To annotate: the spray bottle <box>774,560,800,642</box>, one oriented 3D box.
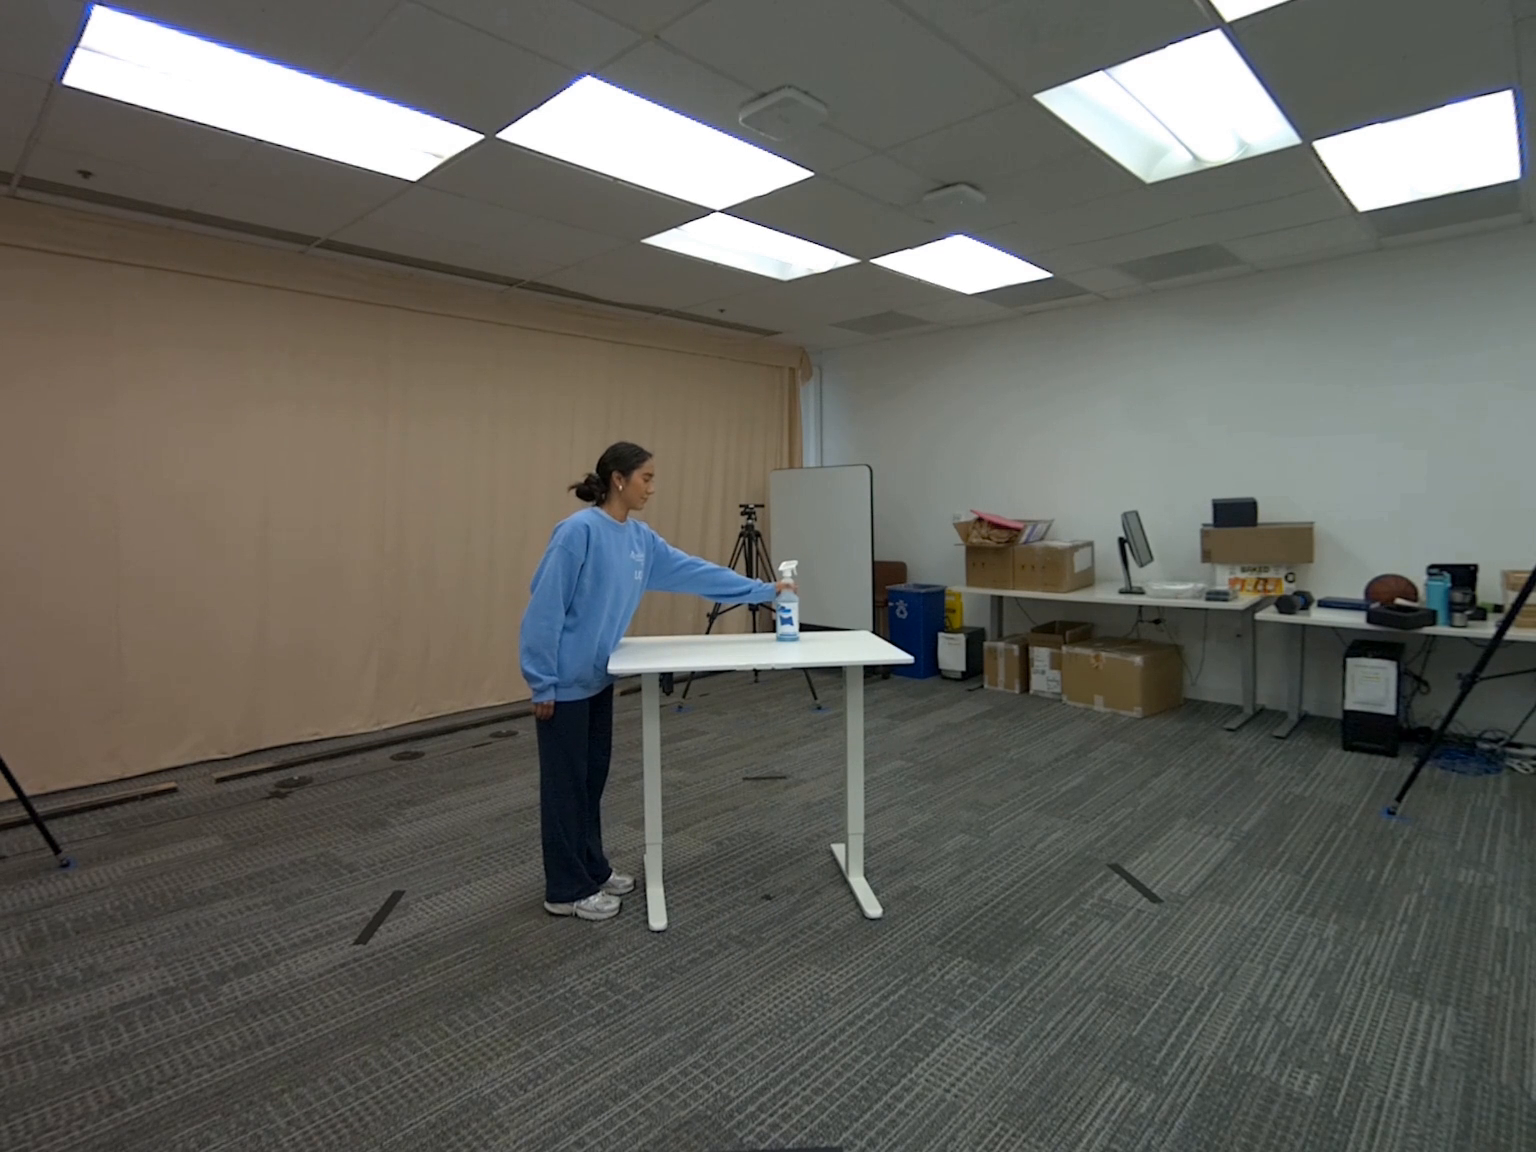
[{"bbox_3d":[0.078,0.096,3.149,0.088,0.296,0.089,0,4,-16],"label":"spray bottle"}]
